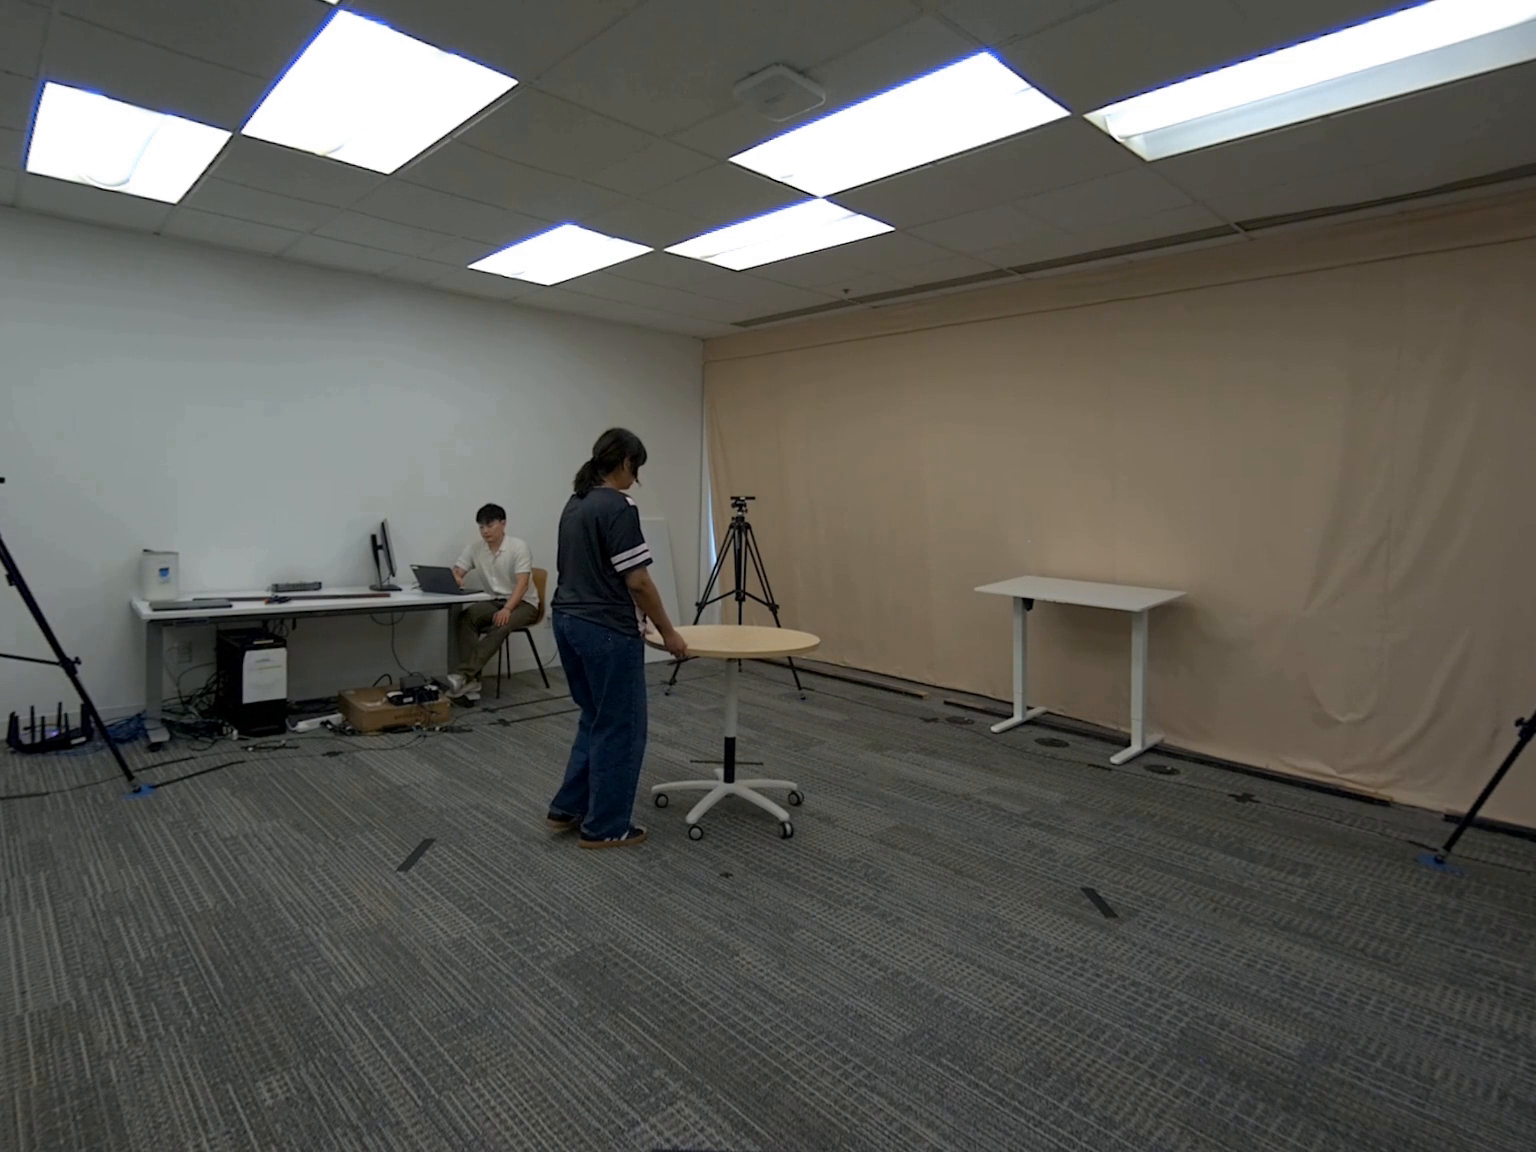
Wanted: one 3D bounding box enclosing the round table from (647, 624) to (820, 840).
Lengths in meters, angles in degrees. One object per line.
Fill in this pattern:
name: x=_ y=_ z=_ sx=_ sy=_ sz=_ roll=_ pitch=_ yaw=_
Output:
round table: x=-0.172 y=0.661 z=3.704 sx=0.763 sy=0.792 sz=0.766 roll=2 pitch=3 yaw=-1
